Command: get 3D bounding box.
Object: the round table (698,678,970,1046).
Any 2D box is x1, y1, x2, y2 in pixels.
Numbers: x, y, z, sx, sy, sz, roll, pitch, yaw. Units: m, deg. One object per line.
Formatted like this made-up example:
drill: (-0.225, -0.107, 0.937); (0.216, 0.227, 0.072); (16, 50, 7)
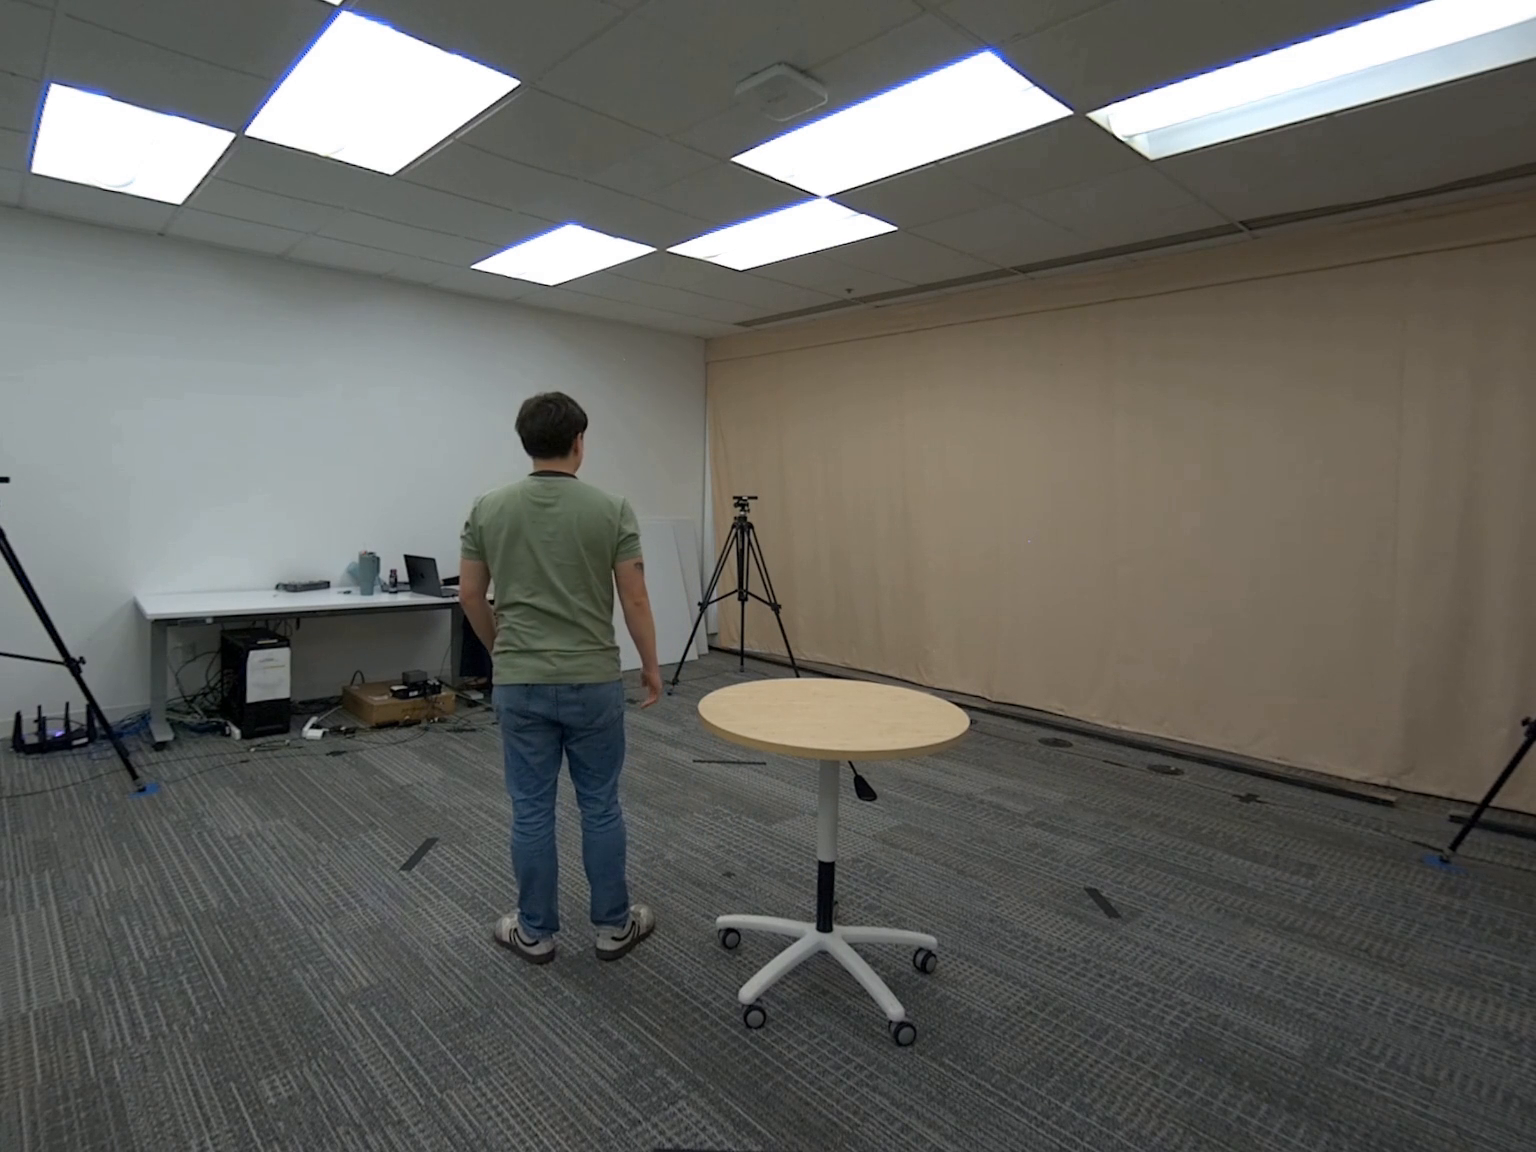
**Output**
round table: (0.172, 0.782, 2.437); (0.763, 0.791, 0.767); (1, 5, -1)
